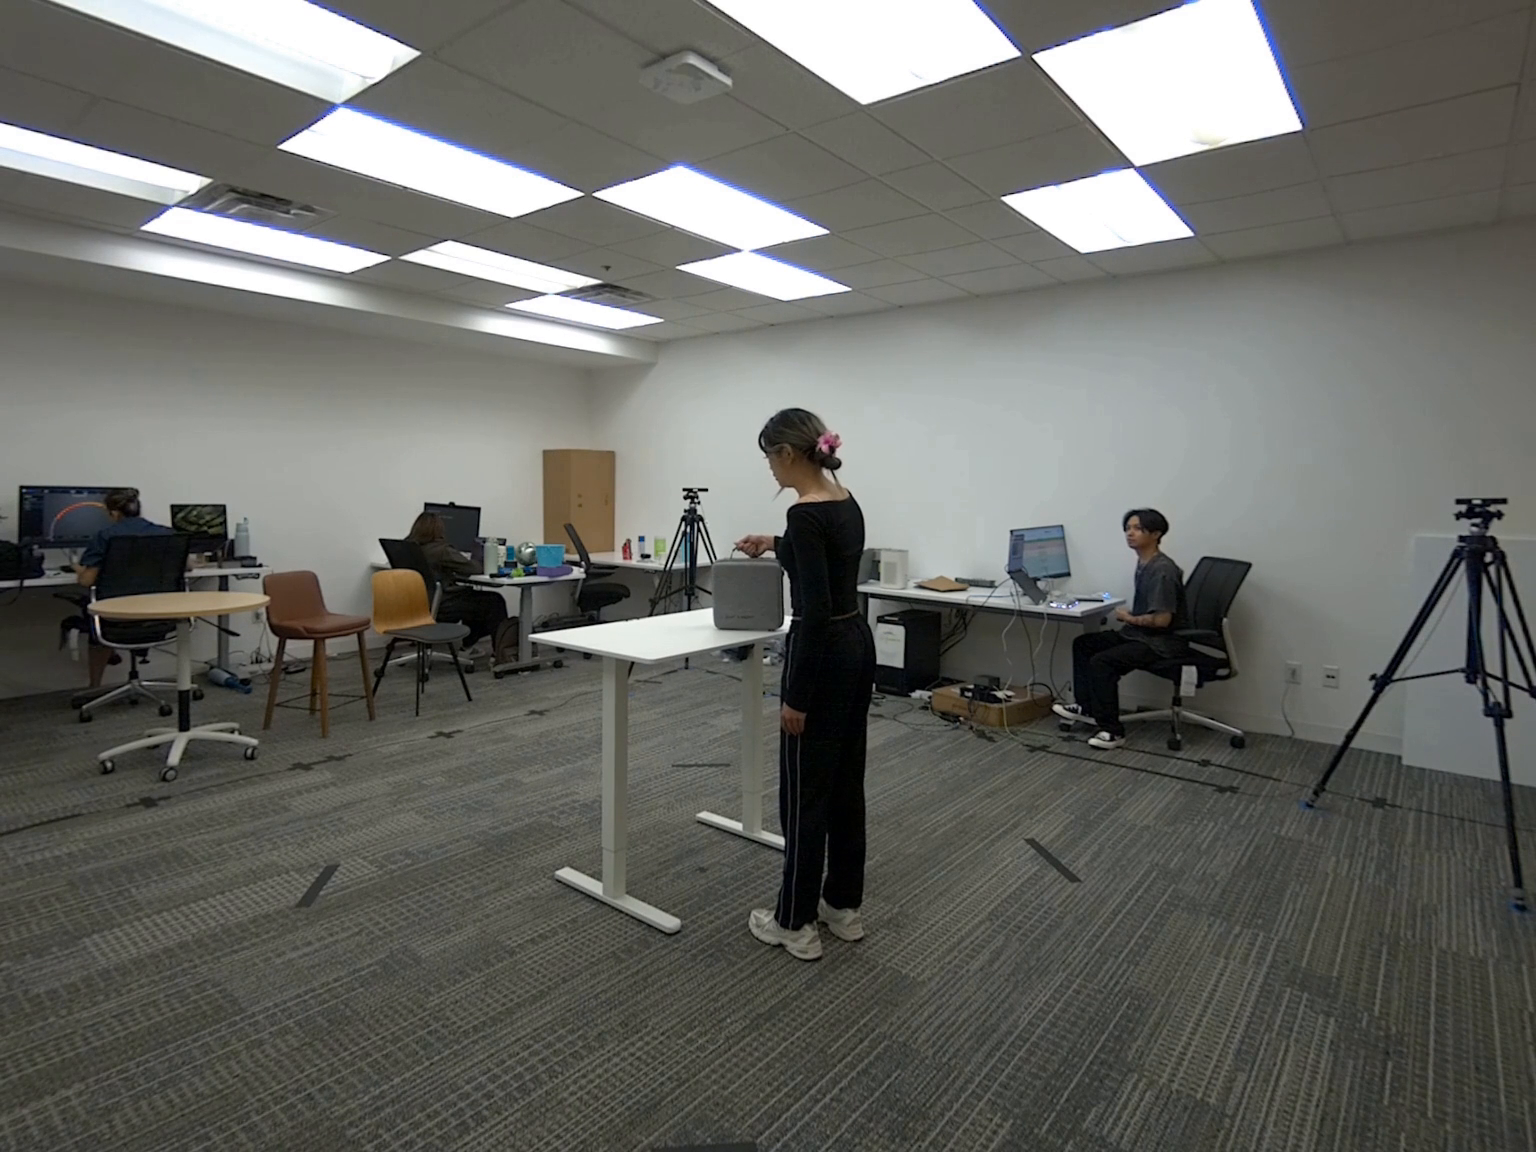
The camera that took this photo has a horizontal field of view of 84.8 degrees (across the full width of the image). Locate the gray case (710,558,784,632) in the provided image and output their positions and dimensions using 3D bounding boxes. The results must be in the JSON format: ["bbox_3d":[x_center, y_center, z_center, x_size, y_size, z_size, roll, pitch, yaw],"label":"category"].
[{"bbox_3d":[-0.086,0.057,3.060,0.260,0.258,0.104,1,9,11],"label":"gray case"}]
